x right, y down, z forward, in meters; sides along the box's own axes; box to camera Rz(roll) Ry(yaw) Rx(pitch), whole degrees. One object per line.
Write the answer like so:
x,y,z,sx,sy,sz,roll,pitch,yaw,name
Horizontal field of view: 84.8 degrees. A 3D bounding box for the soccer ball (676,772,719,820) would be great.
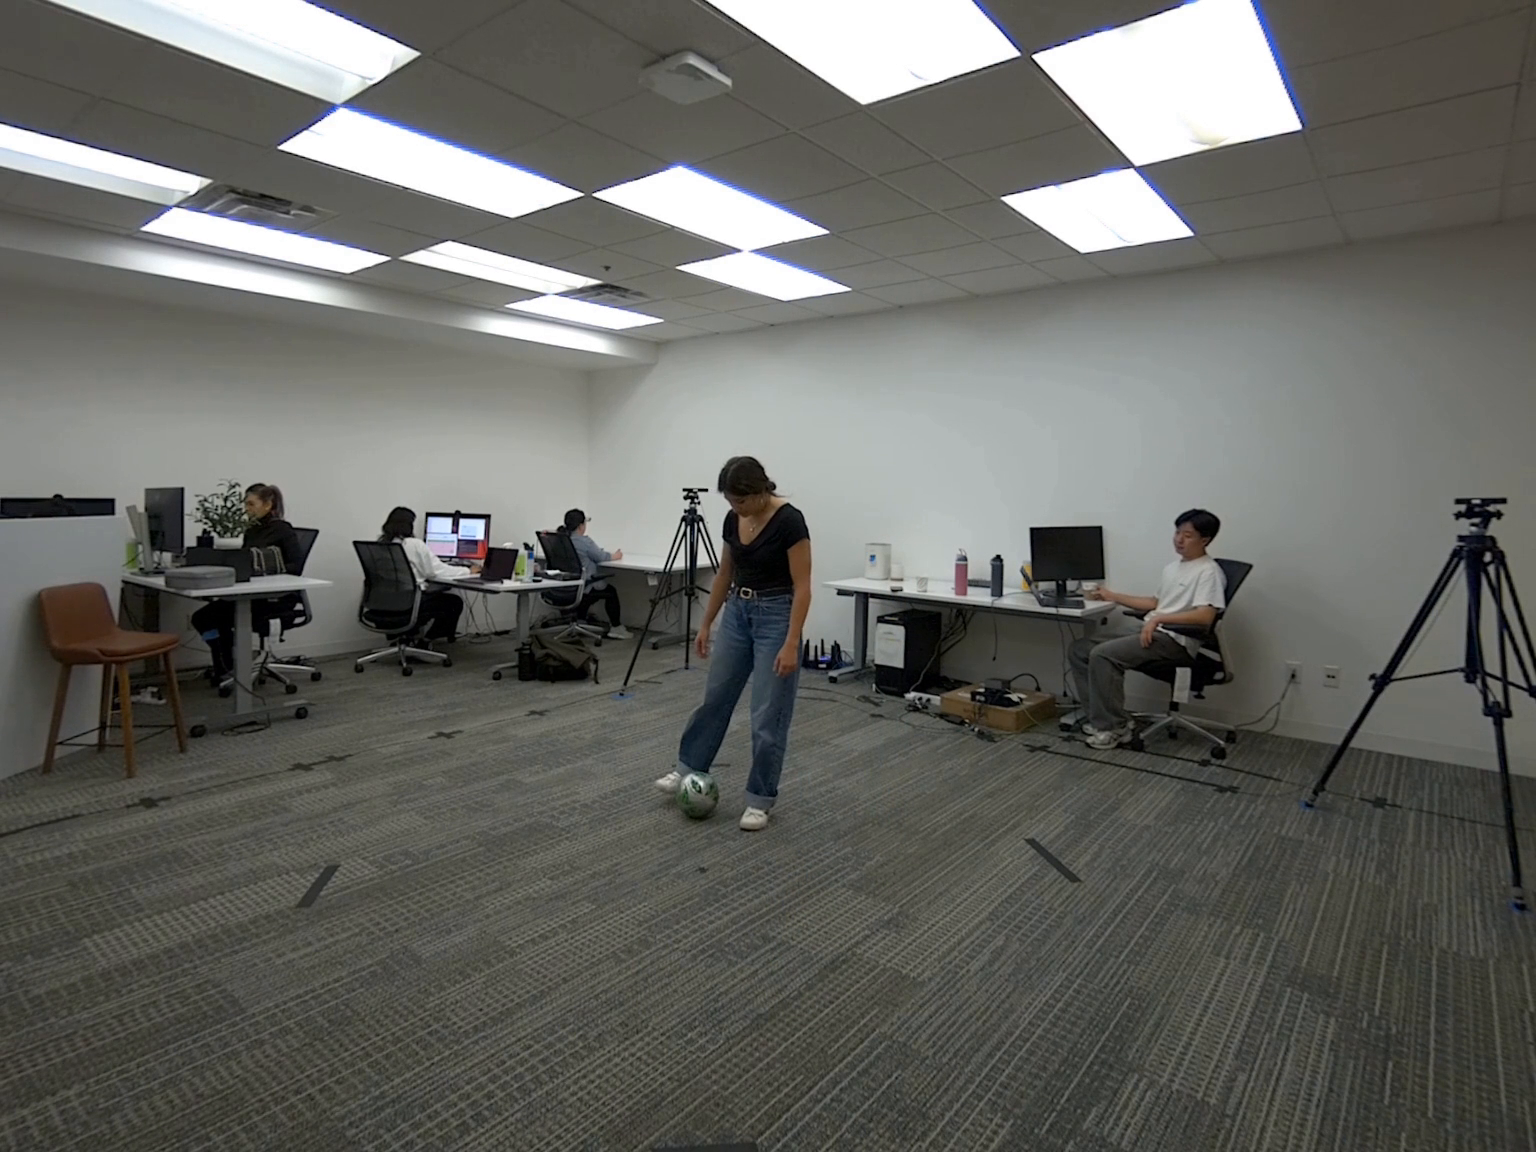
-0.308,0.920,3.628,0.187,0.187,0.188,1,4,-2,soccer ball
